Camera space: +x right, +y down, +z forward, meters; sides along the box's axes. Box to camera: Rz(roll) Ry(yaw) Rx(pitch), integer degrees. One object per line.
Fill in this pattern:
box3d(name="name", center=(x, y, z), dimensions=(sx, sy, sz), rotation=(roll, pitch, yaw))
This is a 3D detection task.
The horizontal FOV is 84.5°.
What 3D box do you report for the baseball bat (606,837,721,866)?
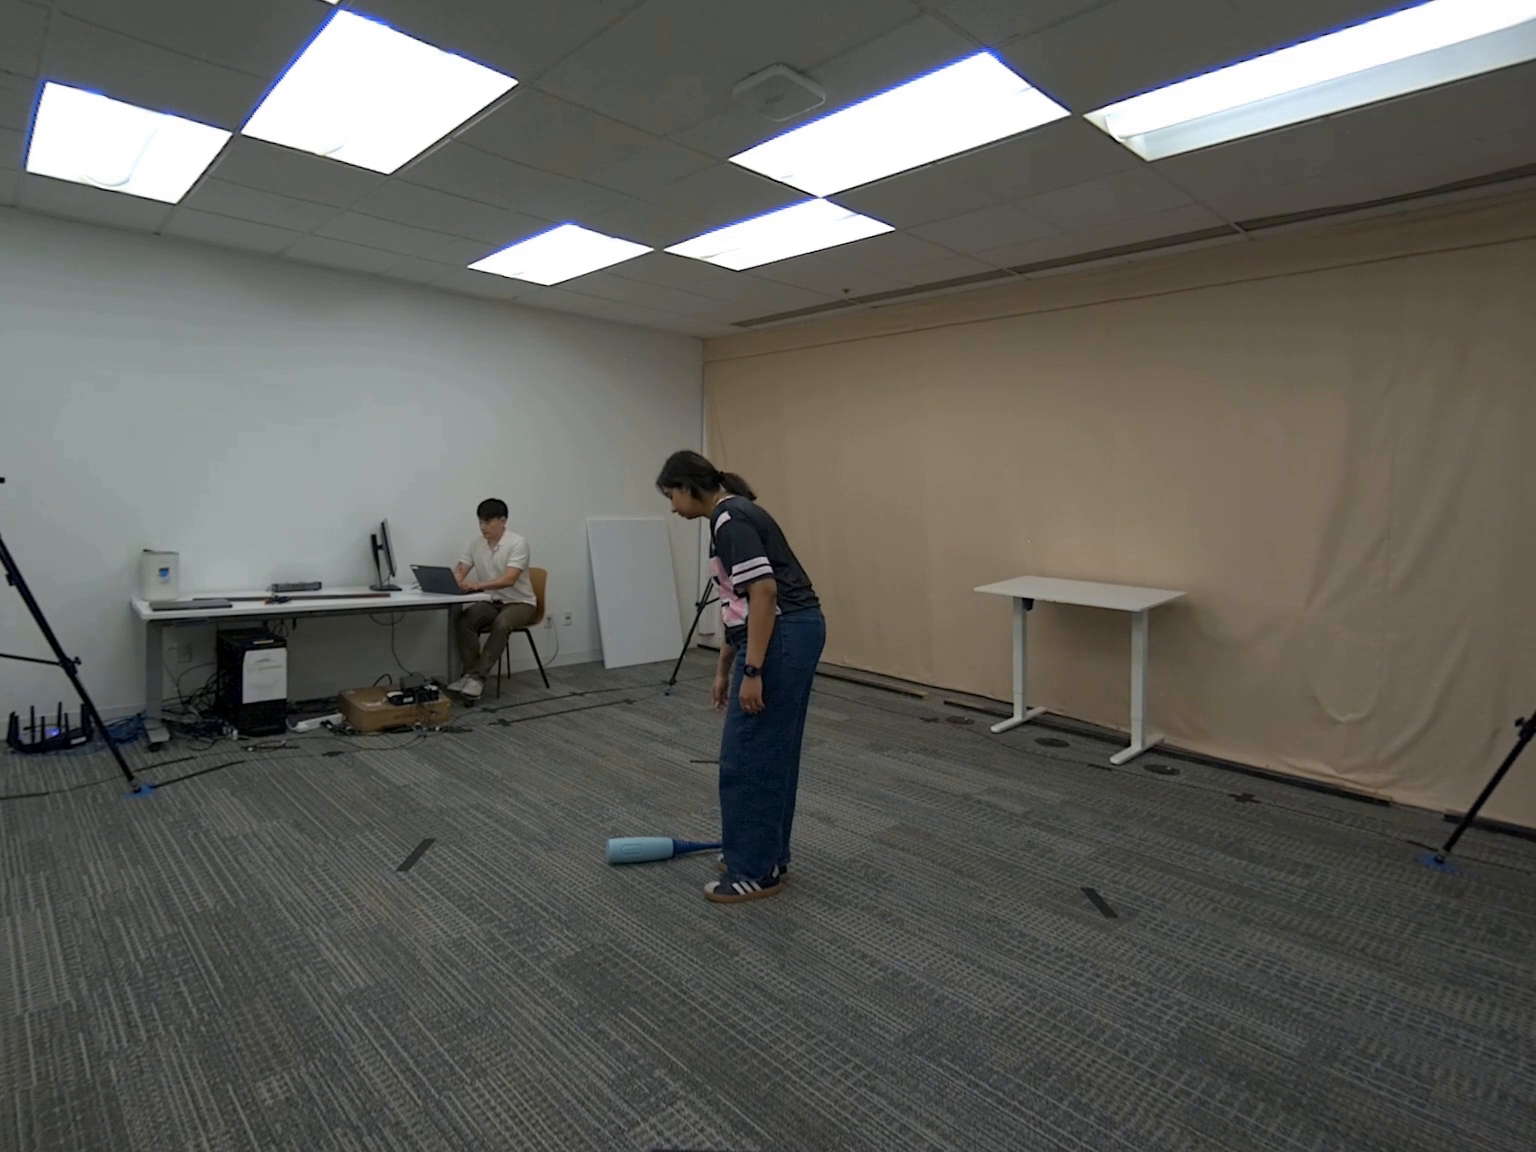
box3d(name="baseball bat", center=(-0.363, 1.051, 3.239), dimensions=(0.534, 0.089, 0.090), rotation=(4, 3, -19))
